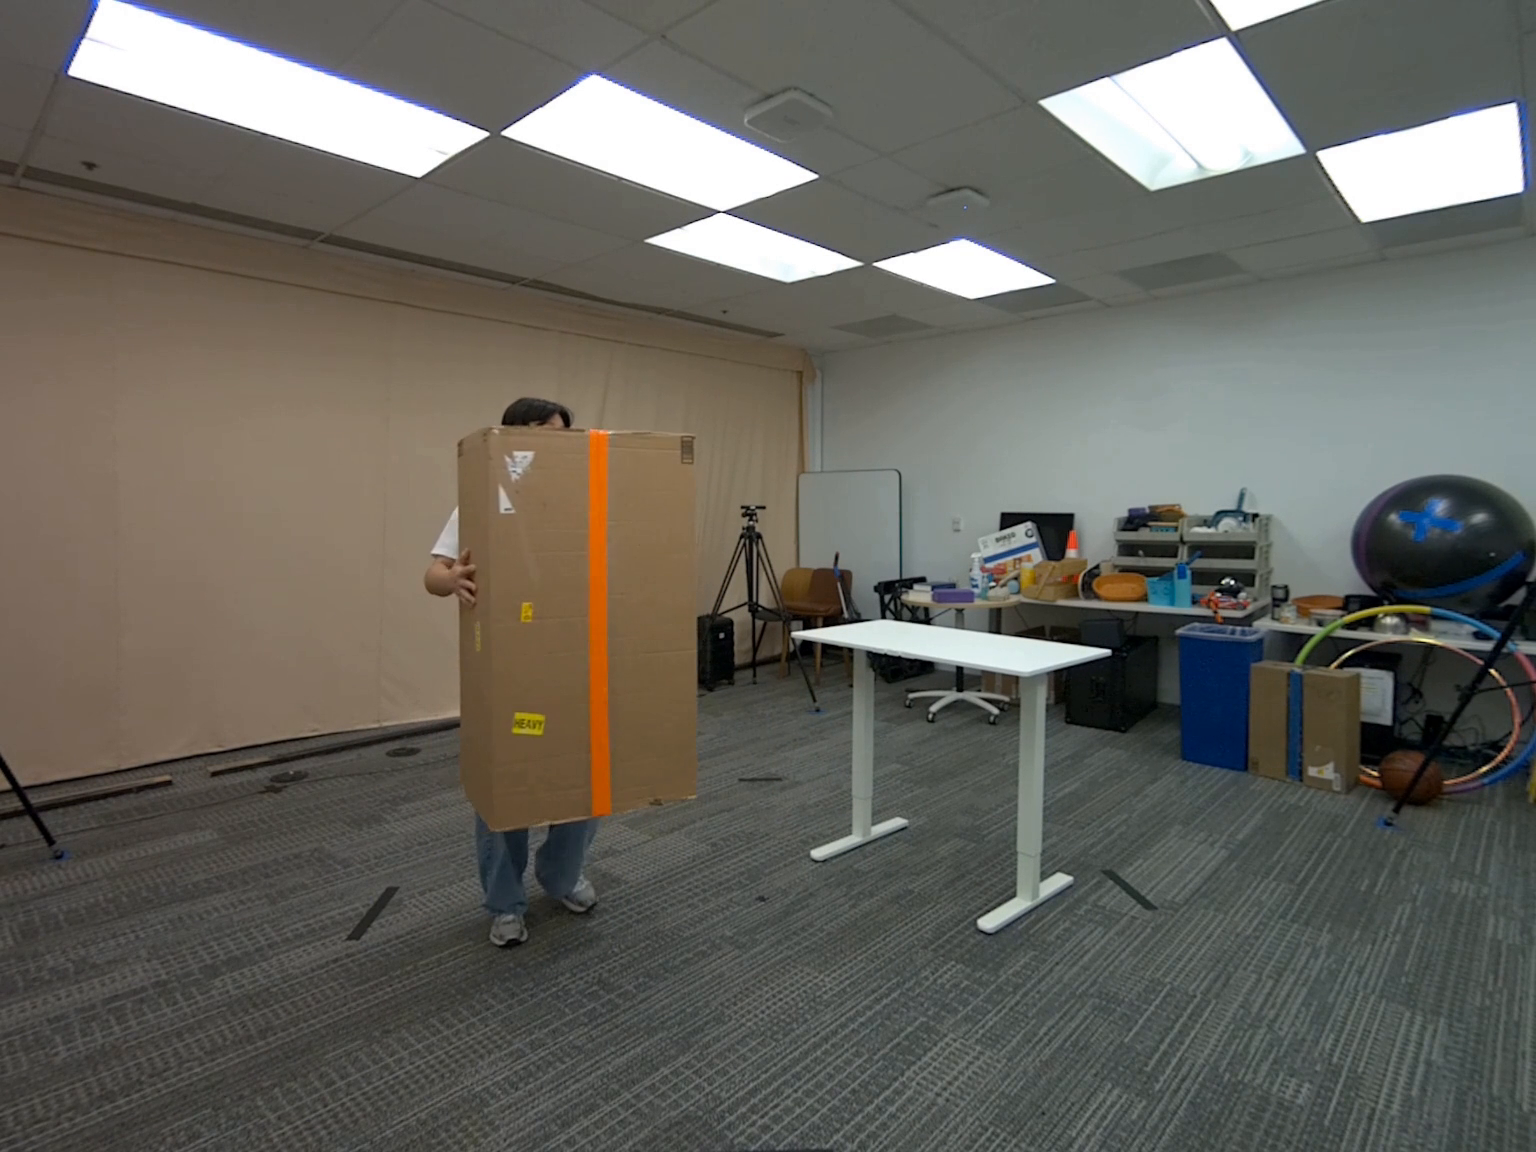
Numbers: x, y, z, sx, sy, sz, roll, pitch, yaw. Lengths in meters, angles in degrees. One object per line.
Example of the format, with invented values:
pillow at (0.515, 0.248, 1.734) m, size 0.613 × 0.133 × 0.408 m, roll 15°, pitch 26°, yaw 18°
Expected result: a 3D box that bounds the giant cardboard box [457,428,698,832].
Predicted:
giant cardboard box at (-0.547, 0.118, 2.410) m, size 0.562 × 1.025 × 0.438 m, roll -1°, pitch 1°, yaw -29°
